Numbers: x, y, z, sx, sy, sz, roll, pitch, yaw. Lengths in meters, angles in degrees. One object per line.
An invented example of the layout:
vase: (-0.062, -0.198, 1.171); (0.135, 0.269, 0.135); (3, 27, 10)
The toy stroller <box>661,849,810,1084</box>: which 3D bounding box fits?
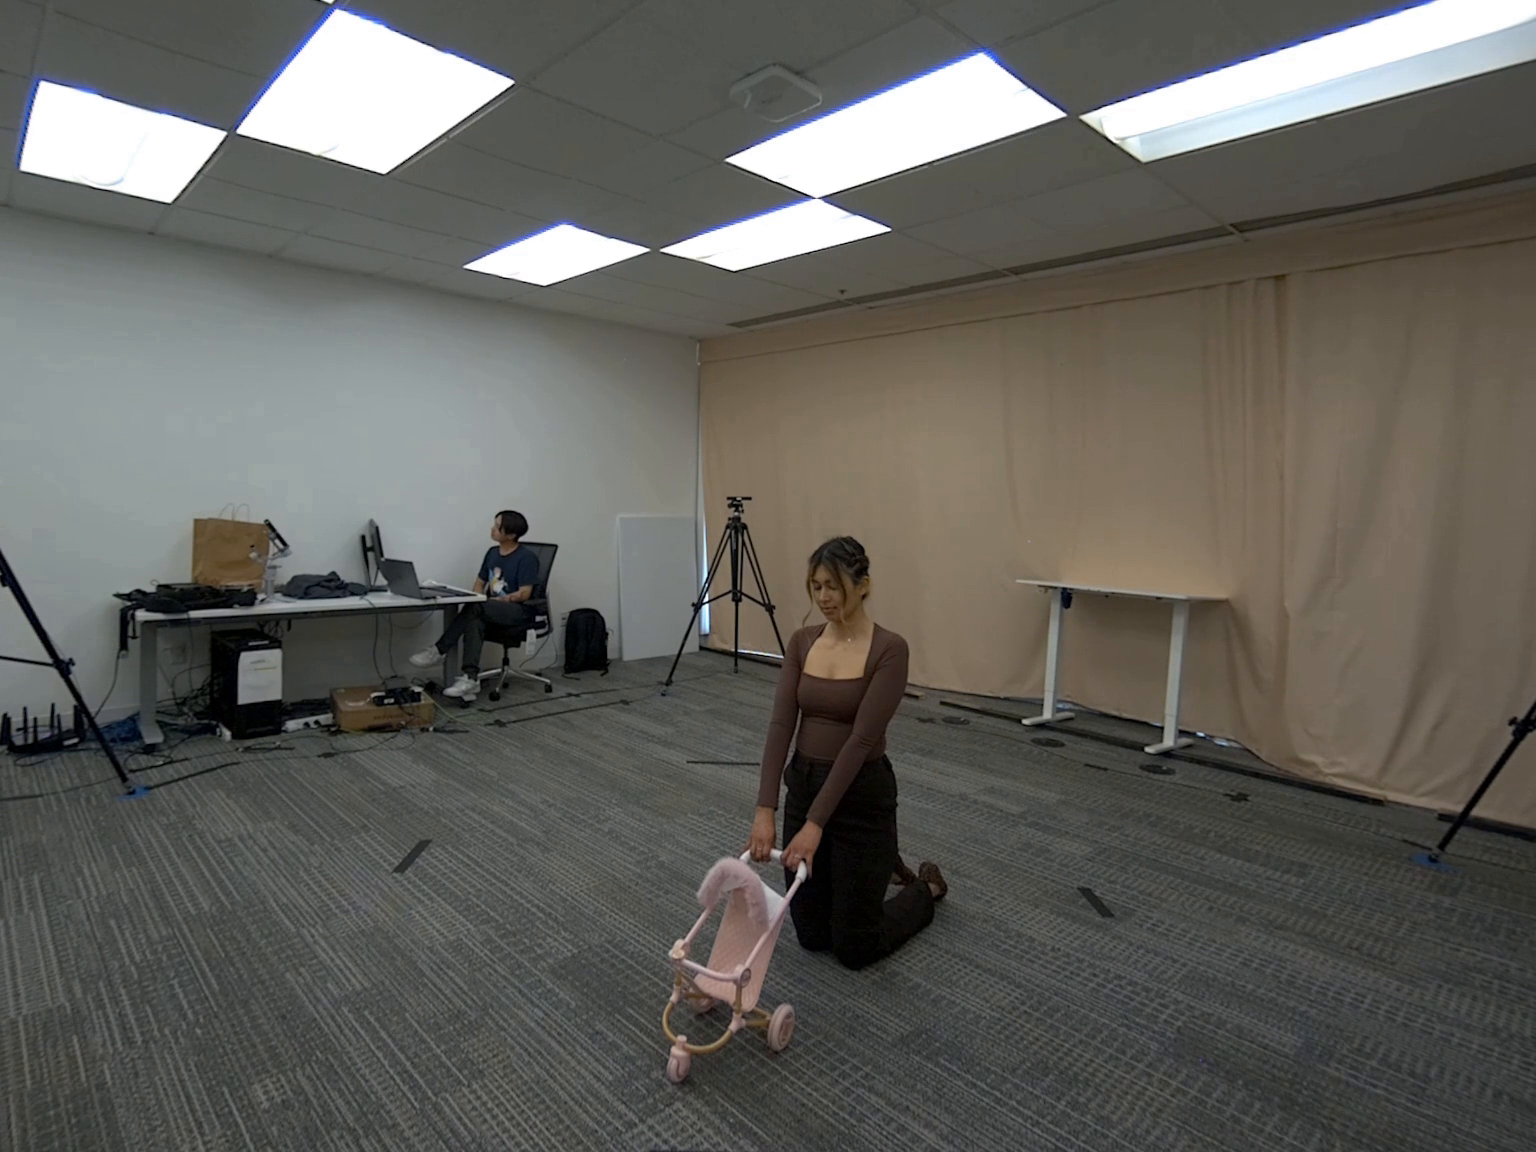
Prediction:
toy stroller: (-0.106, 0.974, 2.148); (0.288, 0.538, 0.331); (3, -13, 40)
